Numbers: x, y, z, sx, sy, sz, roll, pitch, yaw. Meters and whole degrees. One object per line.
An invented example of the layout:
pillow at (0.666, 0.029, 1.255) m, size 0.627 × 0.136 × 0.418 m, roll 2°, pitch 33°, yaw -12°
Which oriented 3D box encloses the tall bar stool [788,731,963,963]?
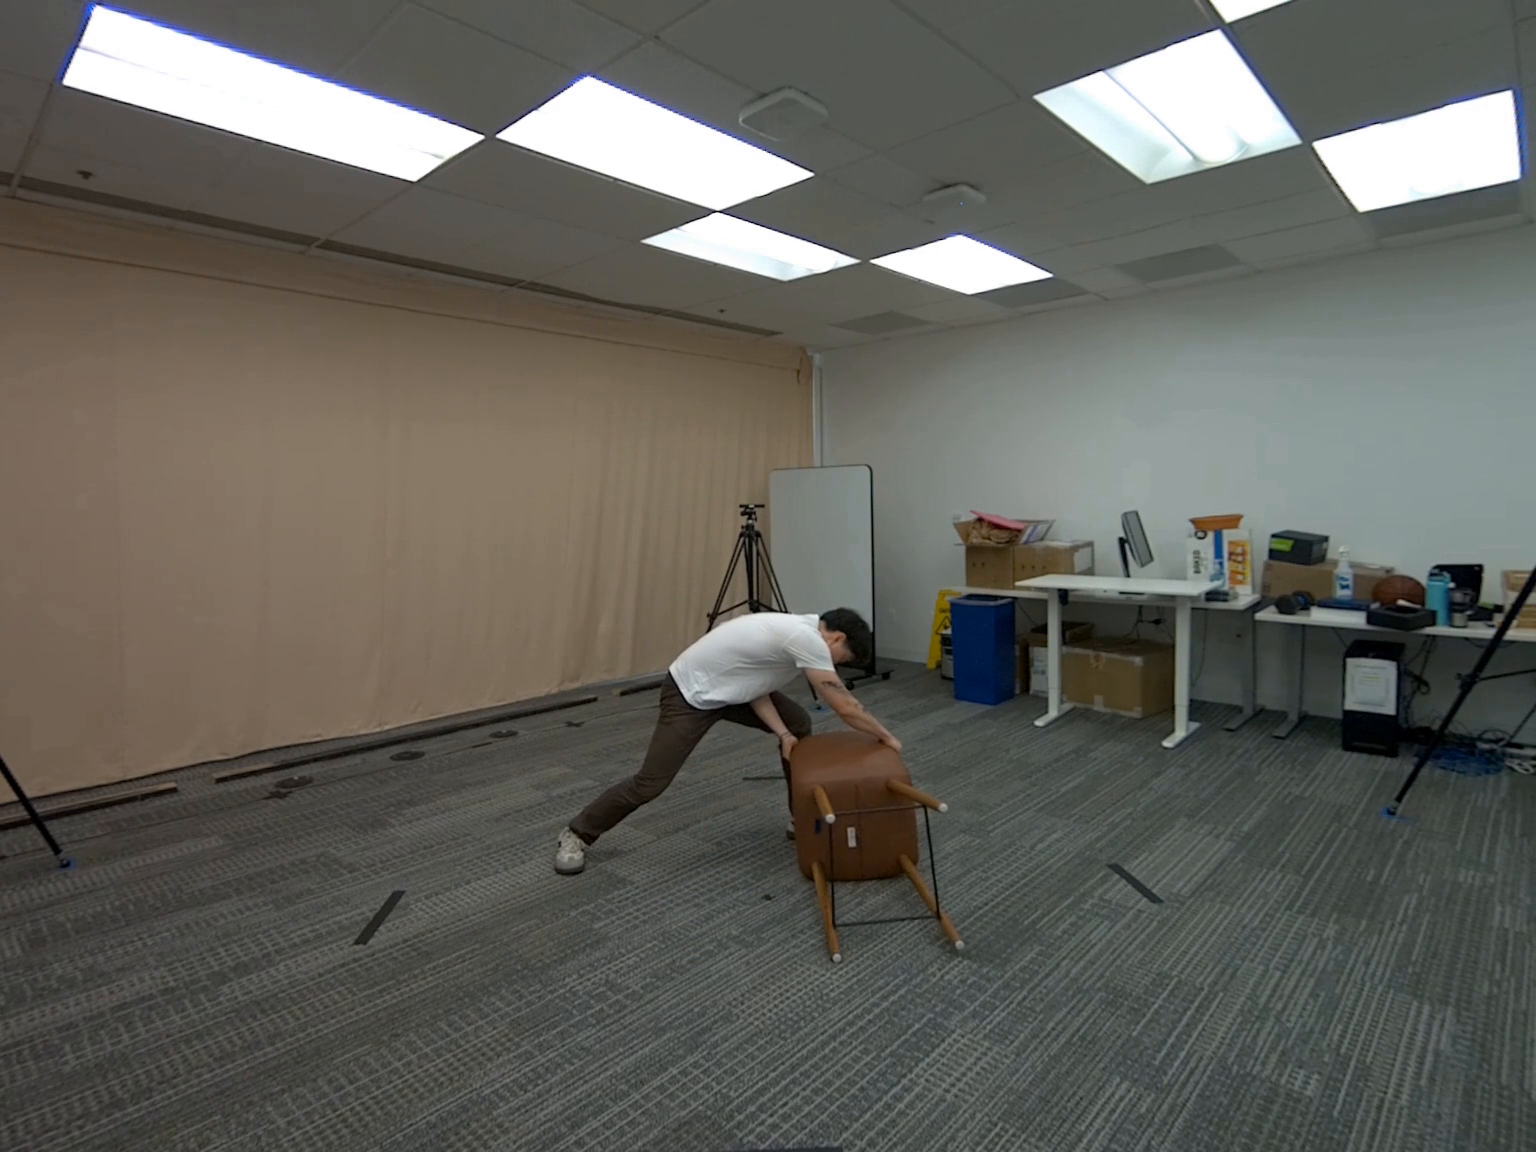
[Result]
tall bar stool at (0.343, 0.901, 2.984) m, size 0.455 × 0.466 × 0.896 m, roll -5°, pitch 5°, yaw -5°
